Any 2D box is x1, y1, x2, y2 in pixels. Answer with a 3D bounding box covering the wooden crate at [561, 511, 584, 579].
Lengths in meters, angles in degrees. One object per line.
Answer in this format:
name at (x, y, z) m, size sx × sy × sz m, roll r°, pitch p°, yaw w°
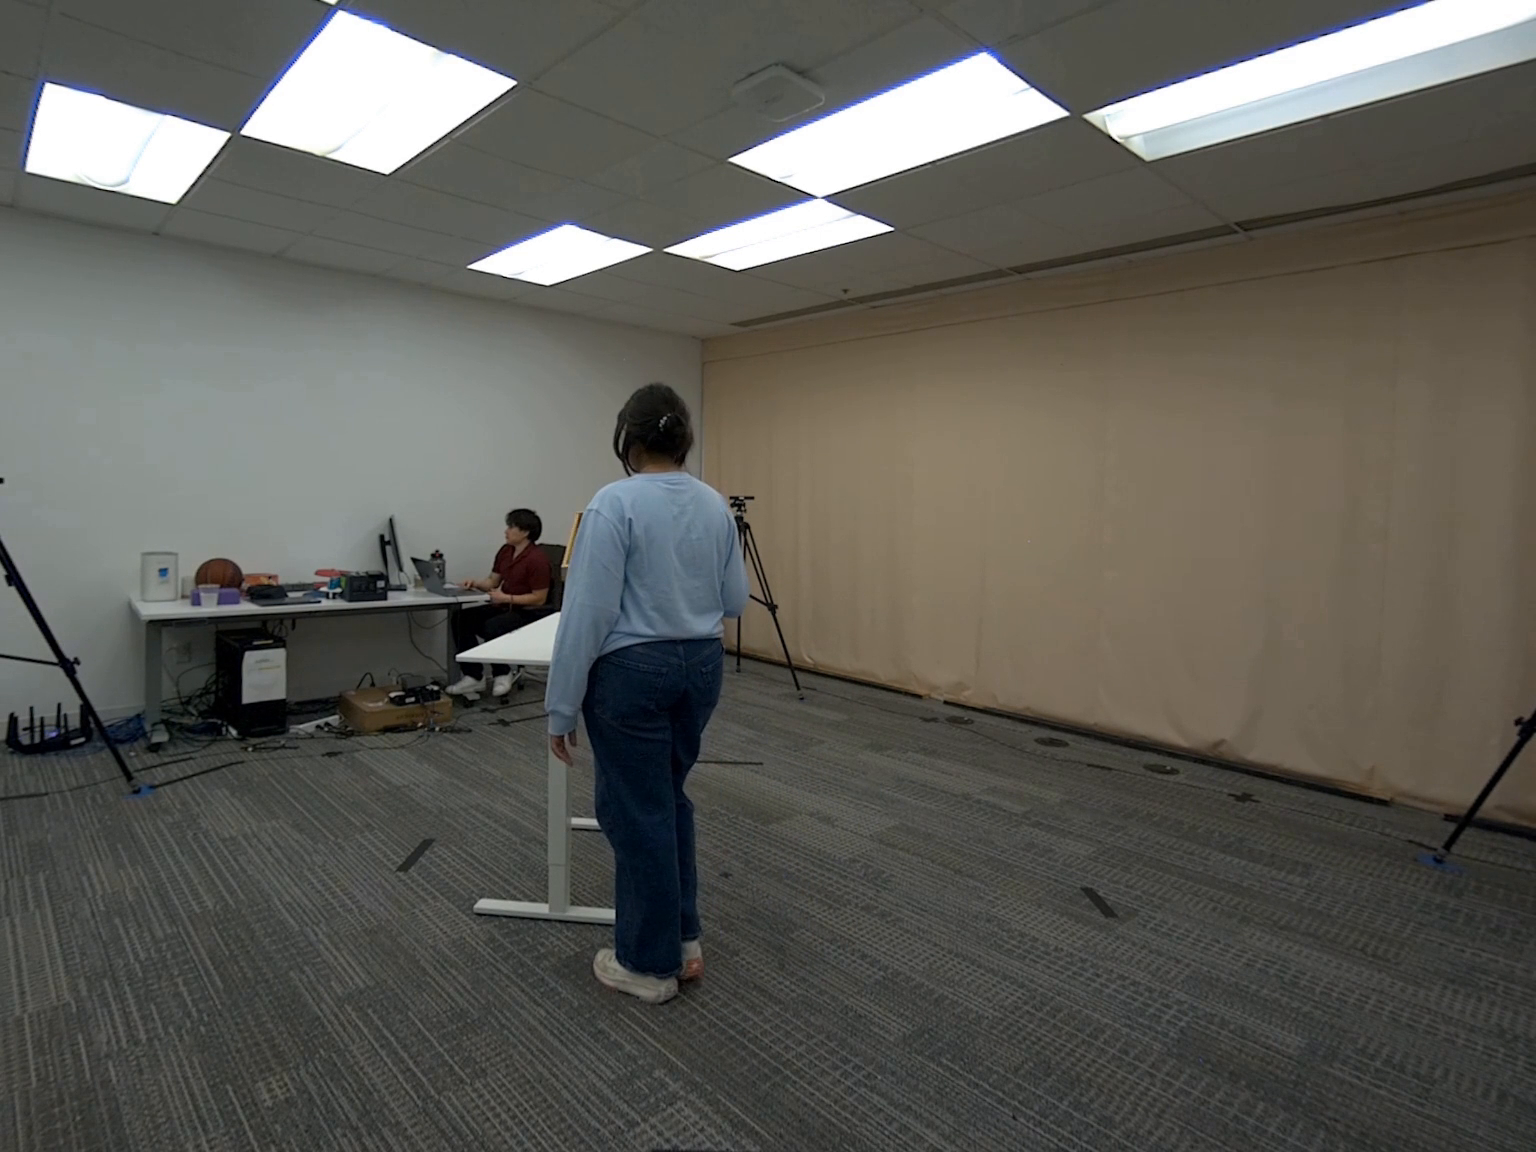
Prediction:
wooden crate at (-0.454, -0.115, 2.636) m, size 0.296 × 0.272 × 0.332 m, roll 26°, pitch 32°, yaw -20°
